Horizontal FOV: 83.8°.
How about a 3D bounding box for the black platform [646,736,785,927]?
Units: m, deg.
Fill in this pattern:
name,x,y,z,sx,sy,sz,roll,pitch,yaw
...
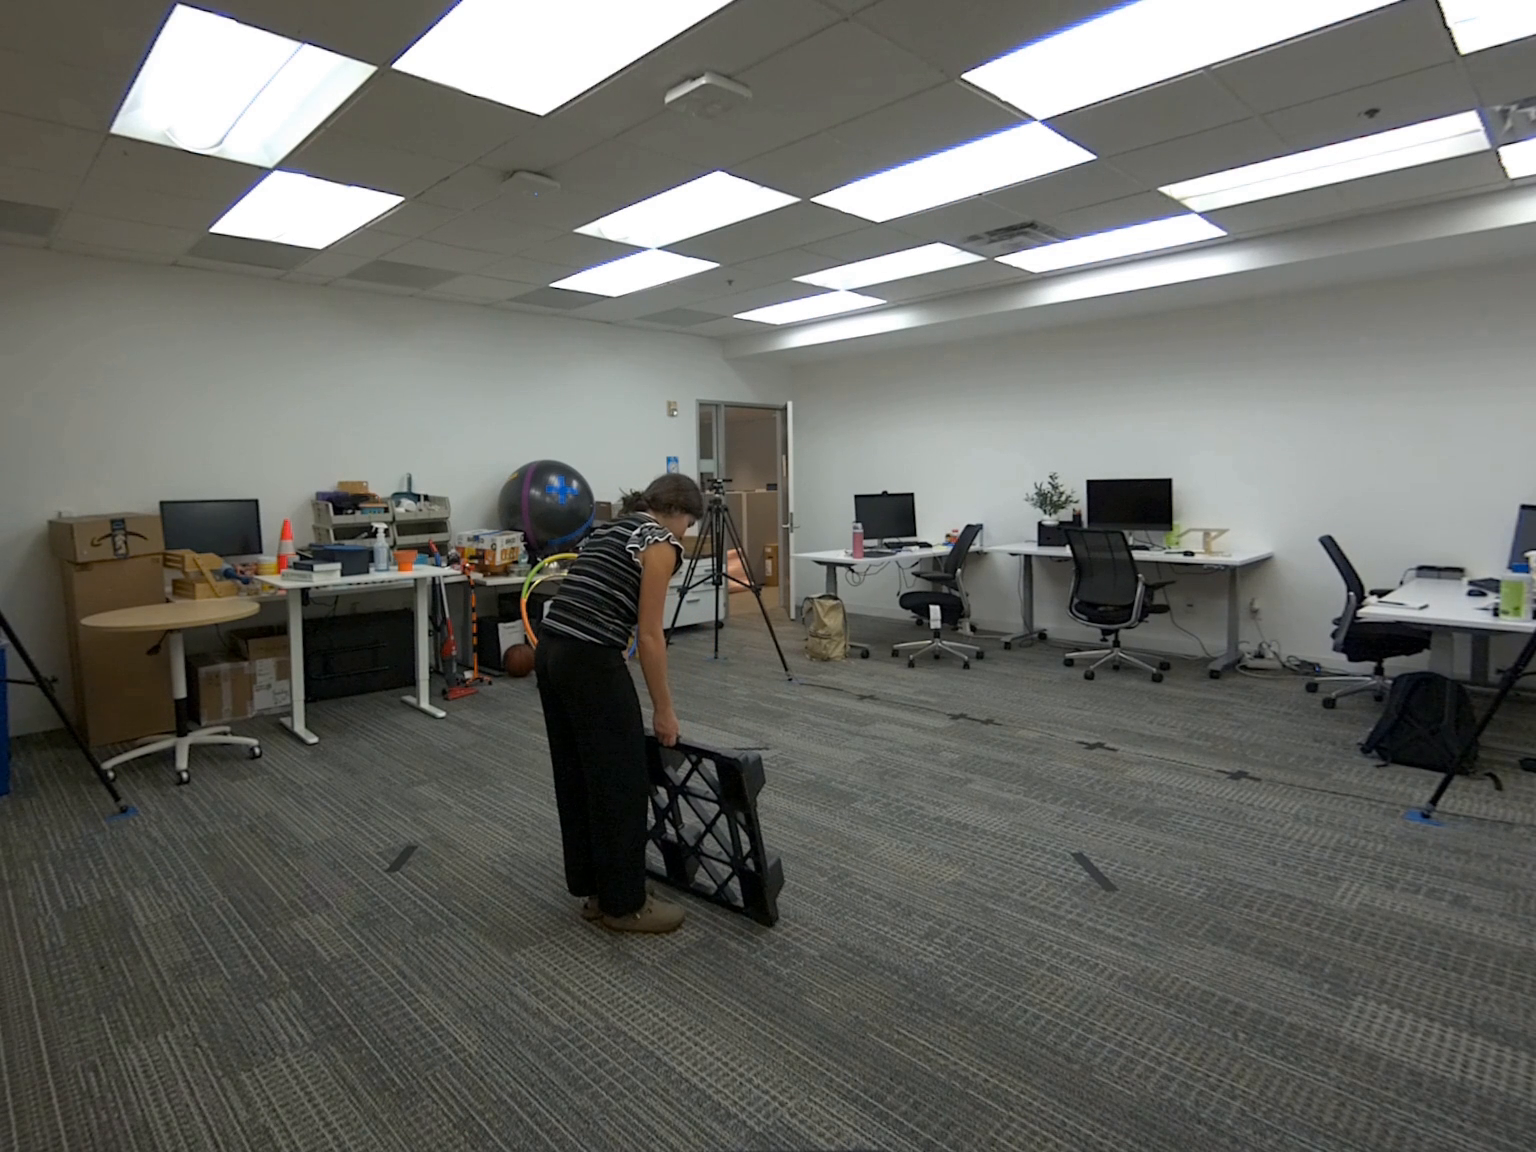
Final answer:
name,x,y,z,sx,sy,sz,roll,pitch,yaw
black platform,-0.310,0.764,2.884,0.830,0.596,0.141,4,20,39
